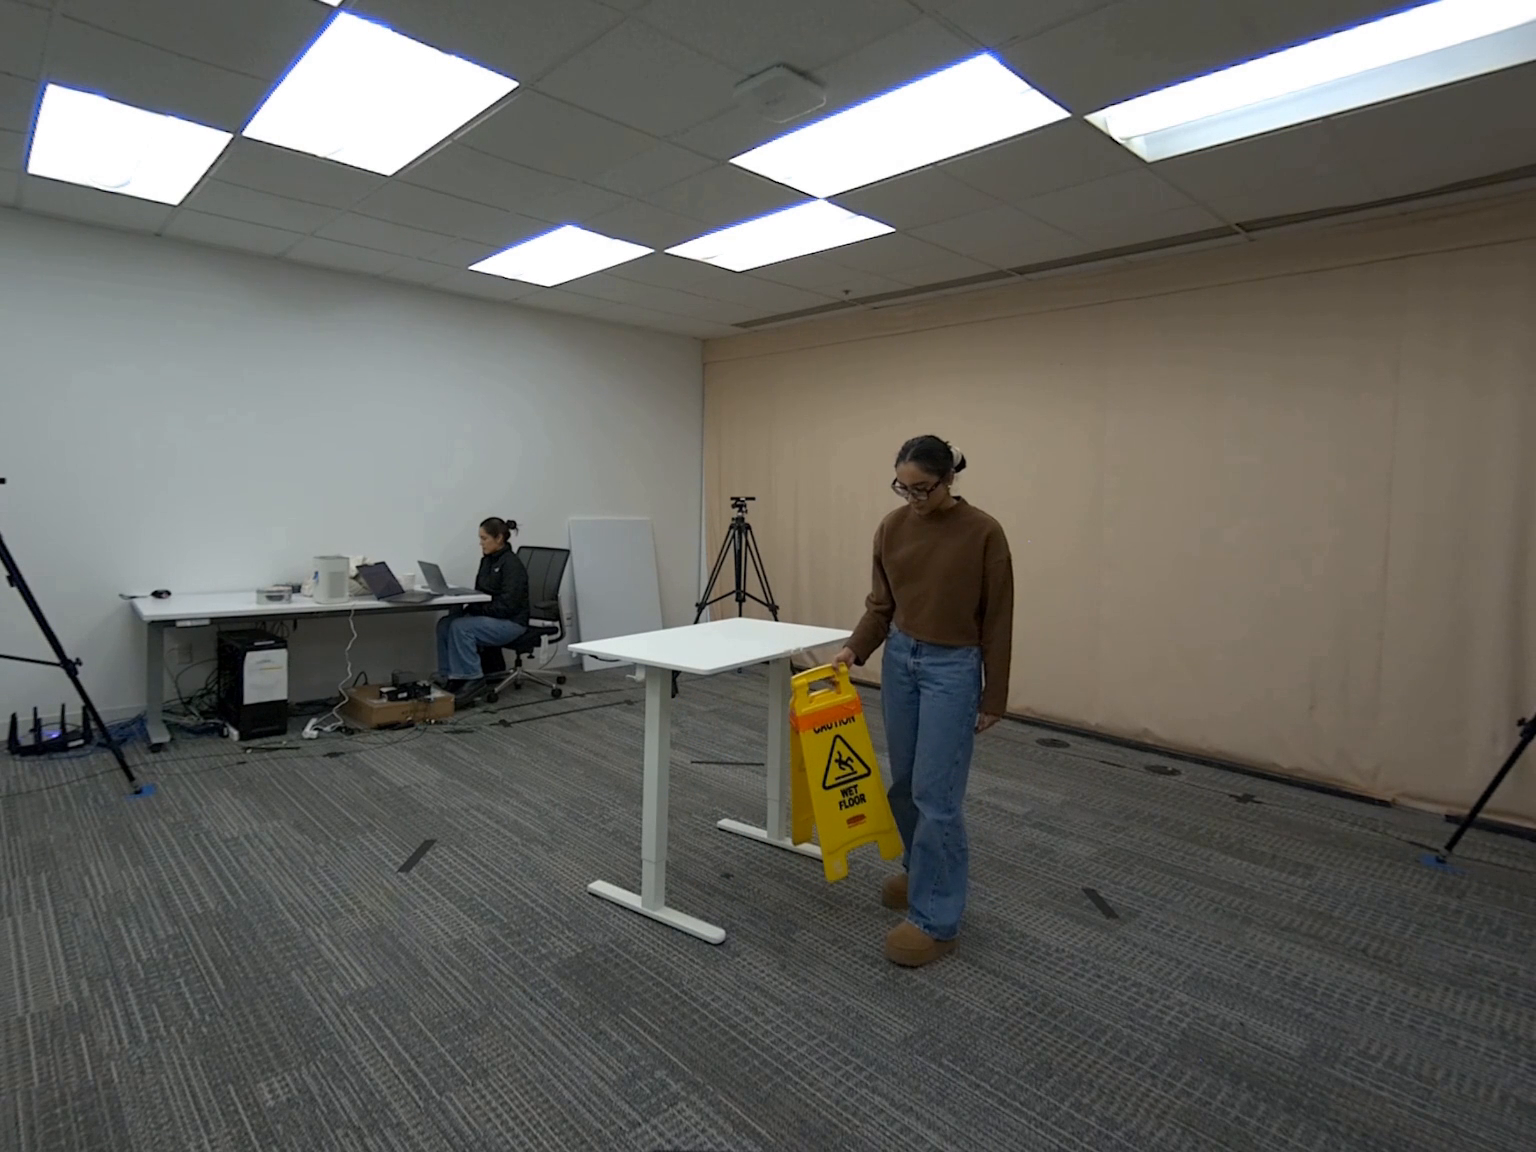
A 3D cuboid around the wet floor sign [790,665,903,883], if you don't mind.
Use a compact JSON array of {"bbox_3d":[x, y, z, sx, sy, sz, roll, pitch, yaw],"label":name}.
[{"bbox_3d":[0.207,0.611,2.788,0.279,0.641,0.295,-12,9,-21],"label":"wet floor sign"}]
